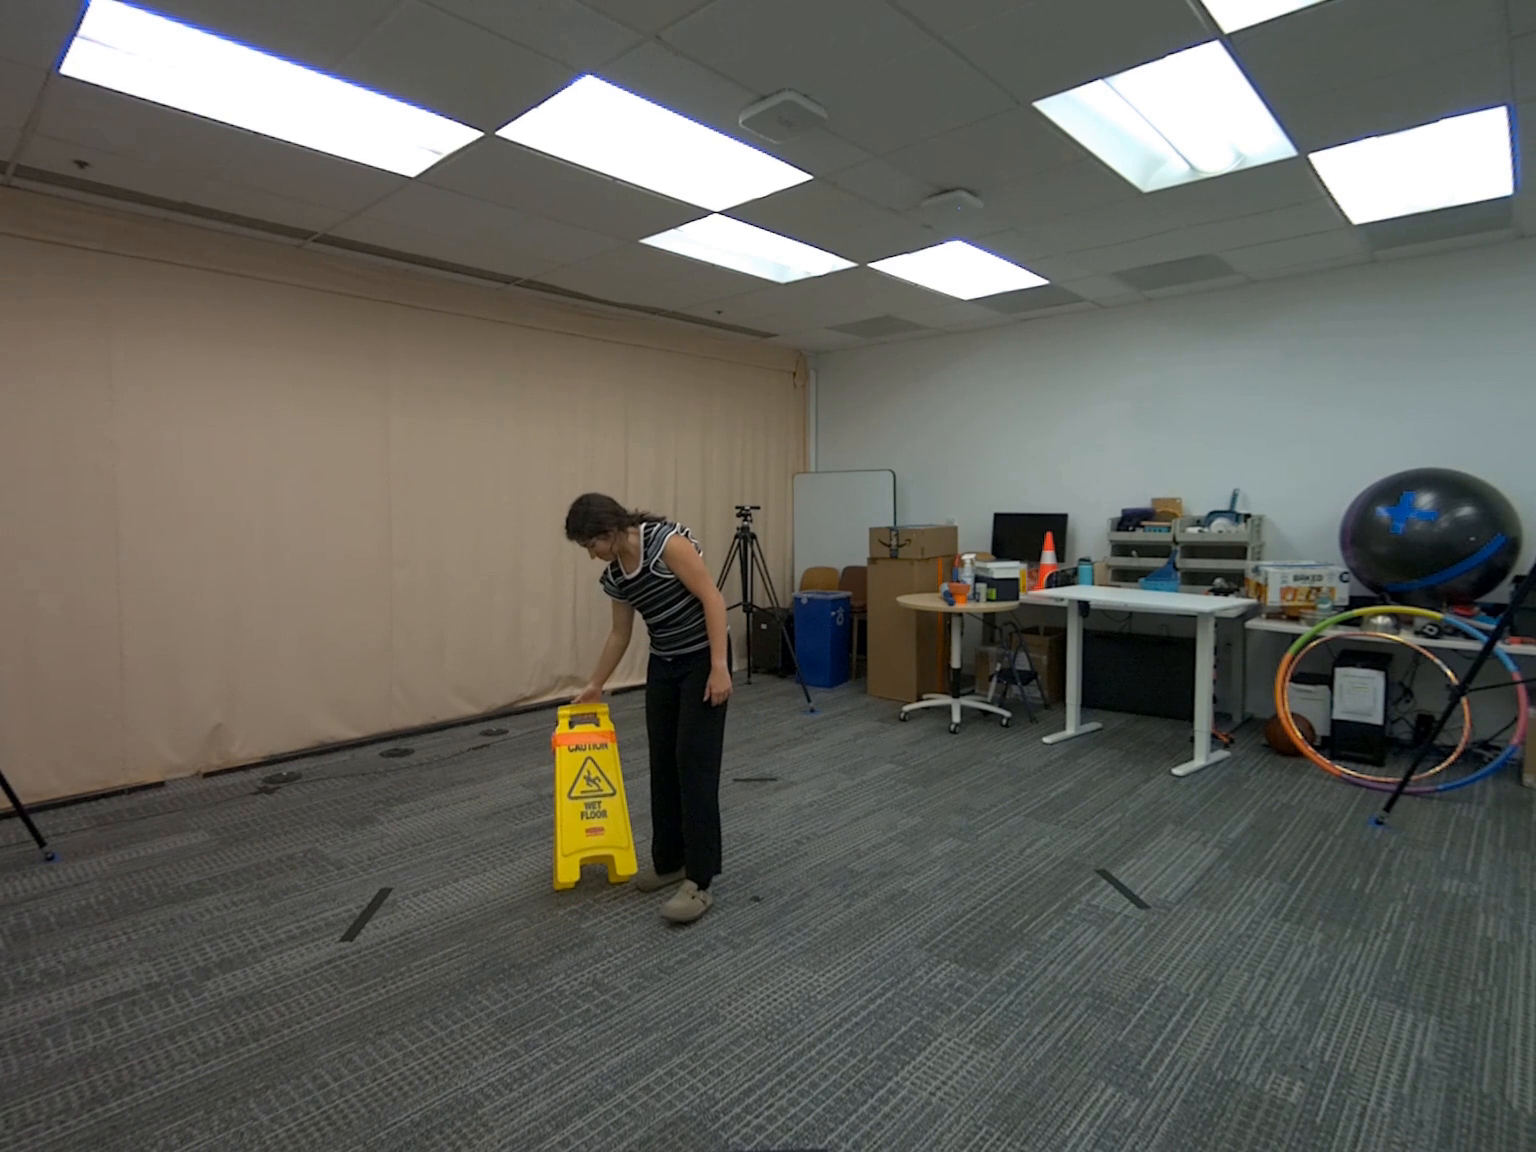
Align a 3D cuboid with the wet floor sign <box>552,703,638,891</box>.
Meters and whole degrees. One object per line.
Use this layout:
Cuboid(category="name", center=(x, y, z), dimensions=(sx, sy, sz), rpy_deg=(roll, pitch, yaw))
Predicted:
Cuboid(category="wet floor sign", center=(-0.672, 0.808, 3.153), dimensions=(0.277, 0.658, 0.289), rpy_deg=(-2, -26, -18))
